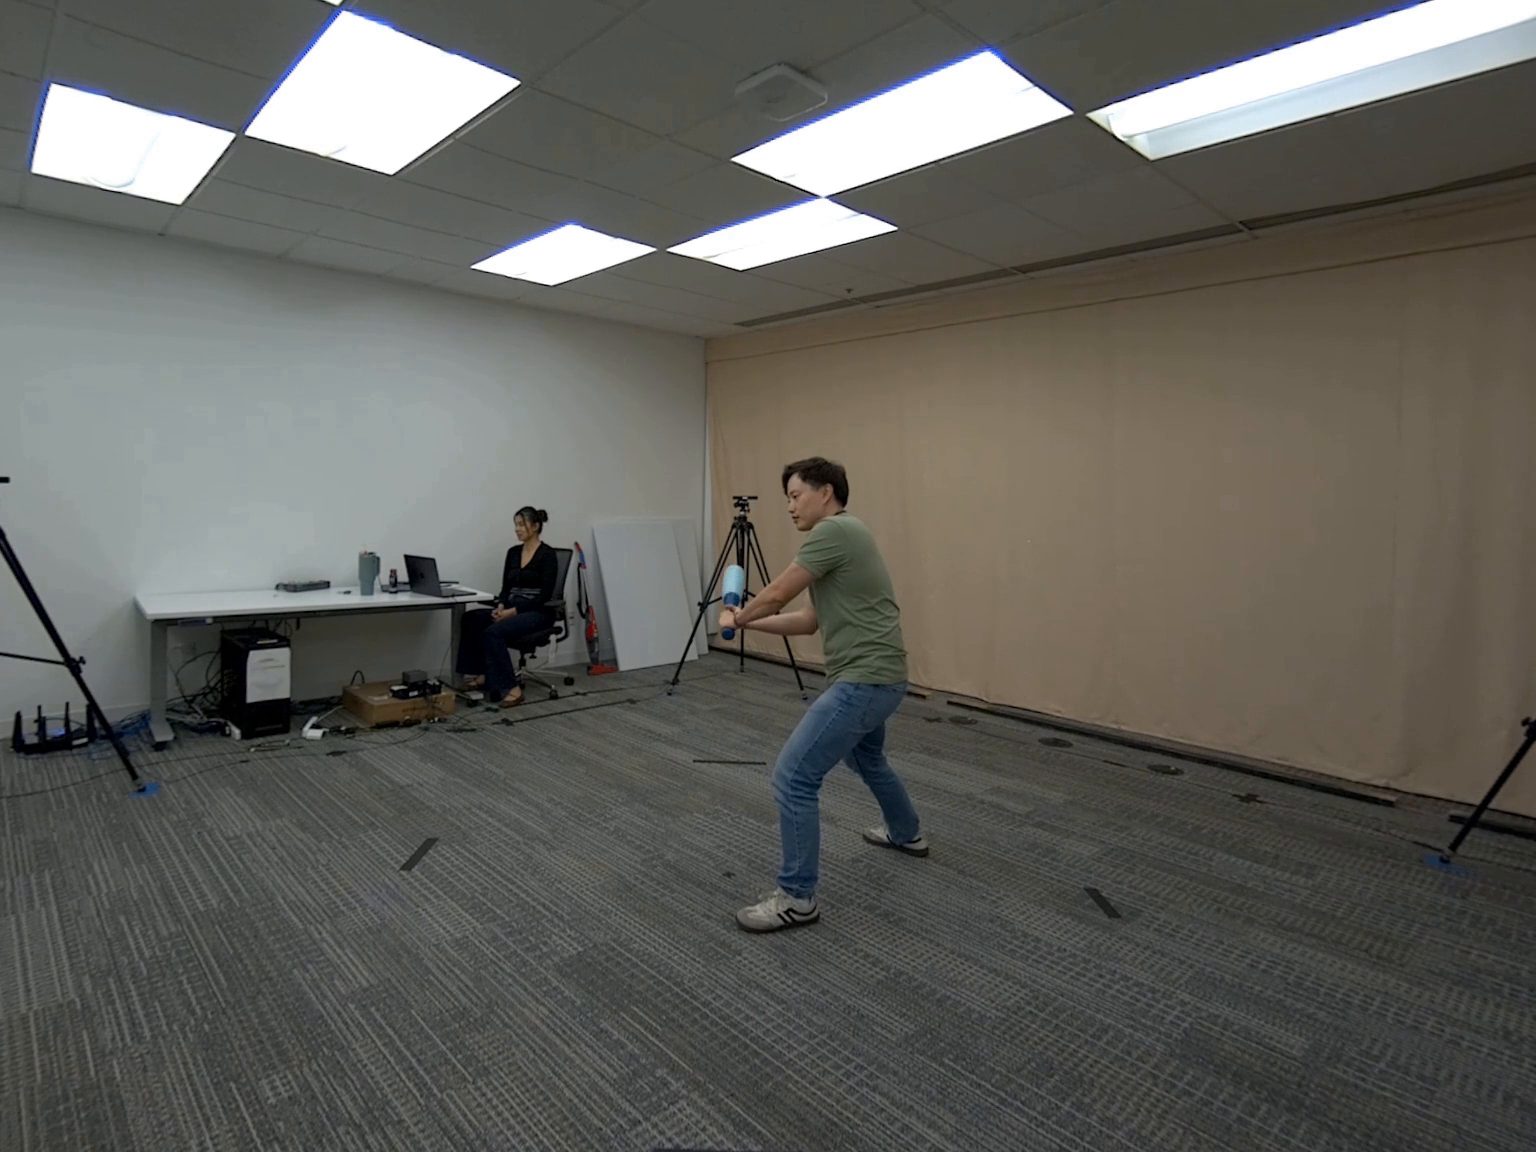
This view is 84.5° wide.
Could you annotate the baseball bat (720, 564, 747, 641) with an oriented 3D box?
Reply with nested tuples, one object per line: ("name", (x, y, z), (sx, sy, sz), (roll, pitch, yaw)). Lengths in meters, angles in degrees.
("baseball bat", (-0.141, 0.104, 3.272), (0.089, 0.087, 0.551), (1, 25, -1))
